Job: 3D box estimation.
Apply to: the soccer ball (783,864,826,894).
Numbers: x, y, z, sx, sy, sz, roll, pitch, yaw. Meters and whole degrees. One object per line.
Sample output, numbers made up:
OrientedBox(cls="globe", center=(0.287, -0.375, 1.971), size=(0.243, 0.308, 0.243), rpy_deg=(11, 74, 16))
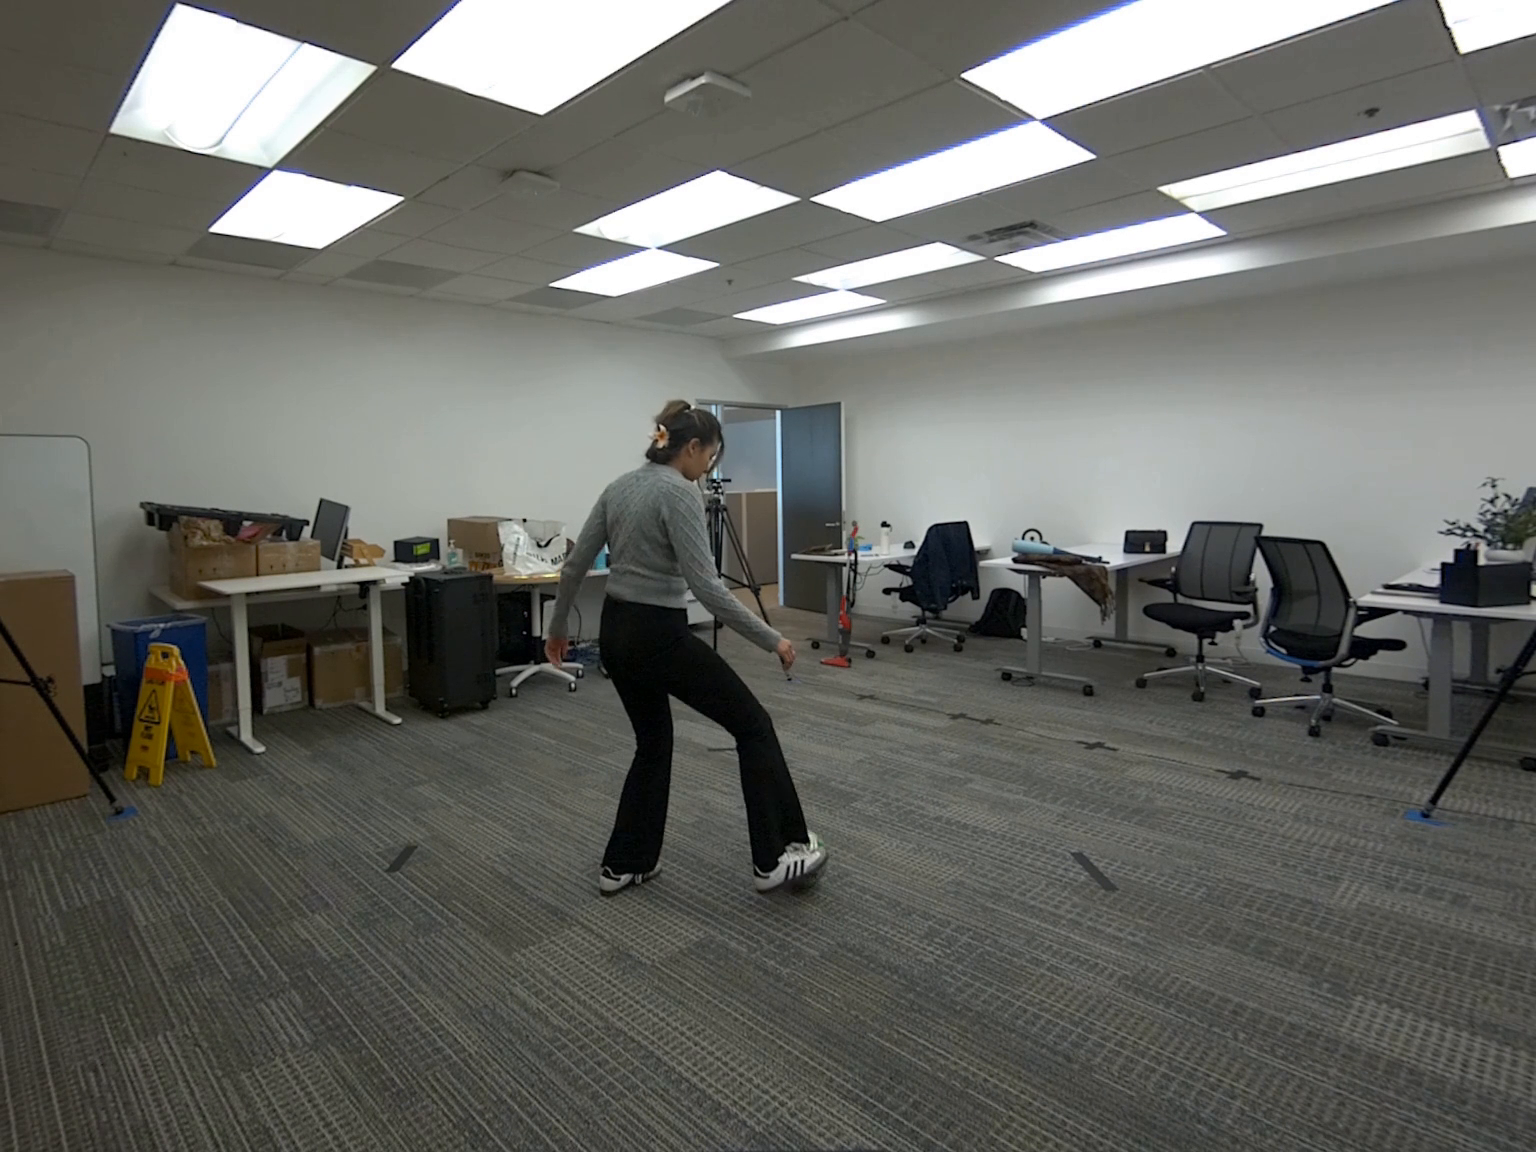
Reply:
OrientedBox(cls="soccer ball", center=(0.106, 0.957, 2.939), size=(0.187, 0.187, 0.188), rpy_deg=(-1, 5, -2))
